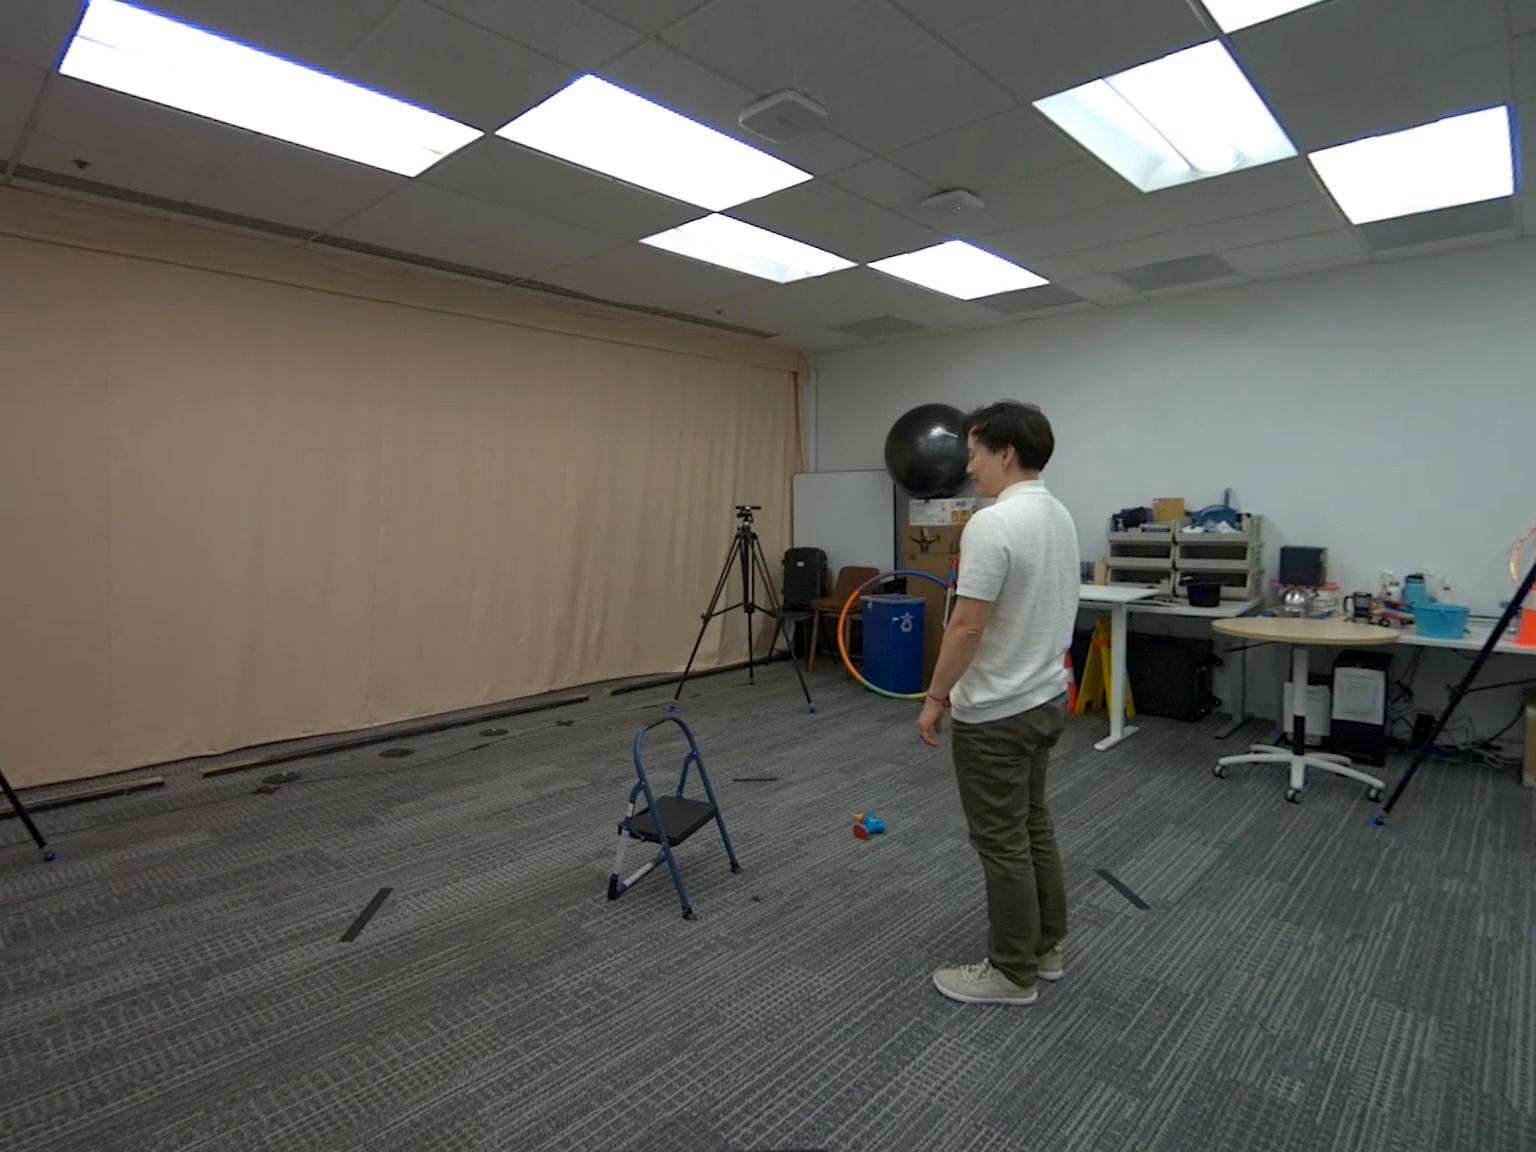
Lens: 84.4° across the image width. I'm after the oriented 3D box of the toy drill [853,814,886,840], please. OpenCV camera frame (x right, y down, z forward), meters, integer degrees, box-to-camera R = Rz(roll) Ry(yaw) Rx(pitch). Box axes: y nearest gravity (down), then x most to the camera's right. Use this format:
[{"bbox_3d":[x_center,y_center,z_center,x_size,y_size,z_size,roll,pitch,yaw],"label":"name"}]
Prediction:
[{"bbox_3d":[0.417,1.063,3.602,0.141,0.061,0.176,-6,13,-43],"label":"toy drill"}]
